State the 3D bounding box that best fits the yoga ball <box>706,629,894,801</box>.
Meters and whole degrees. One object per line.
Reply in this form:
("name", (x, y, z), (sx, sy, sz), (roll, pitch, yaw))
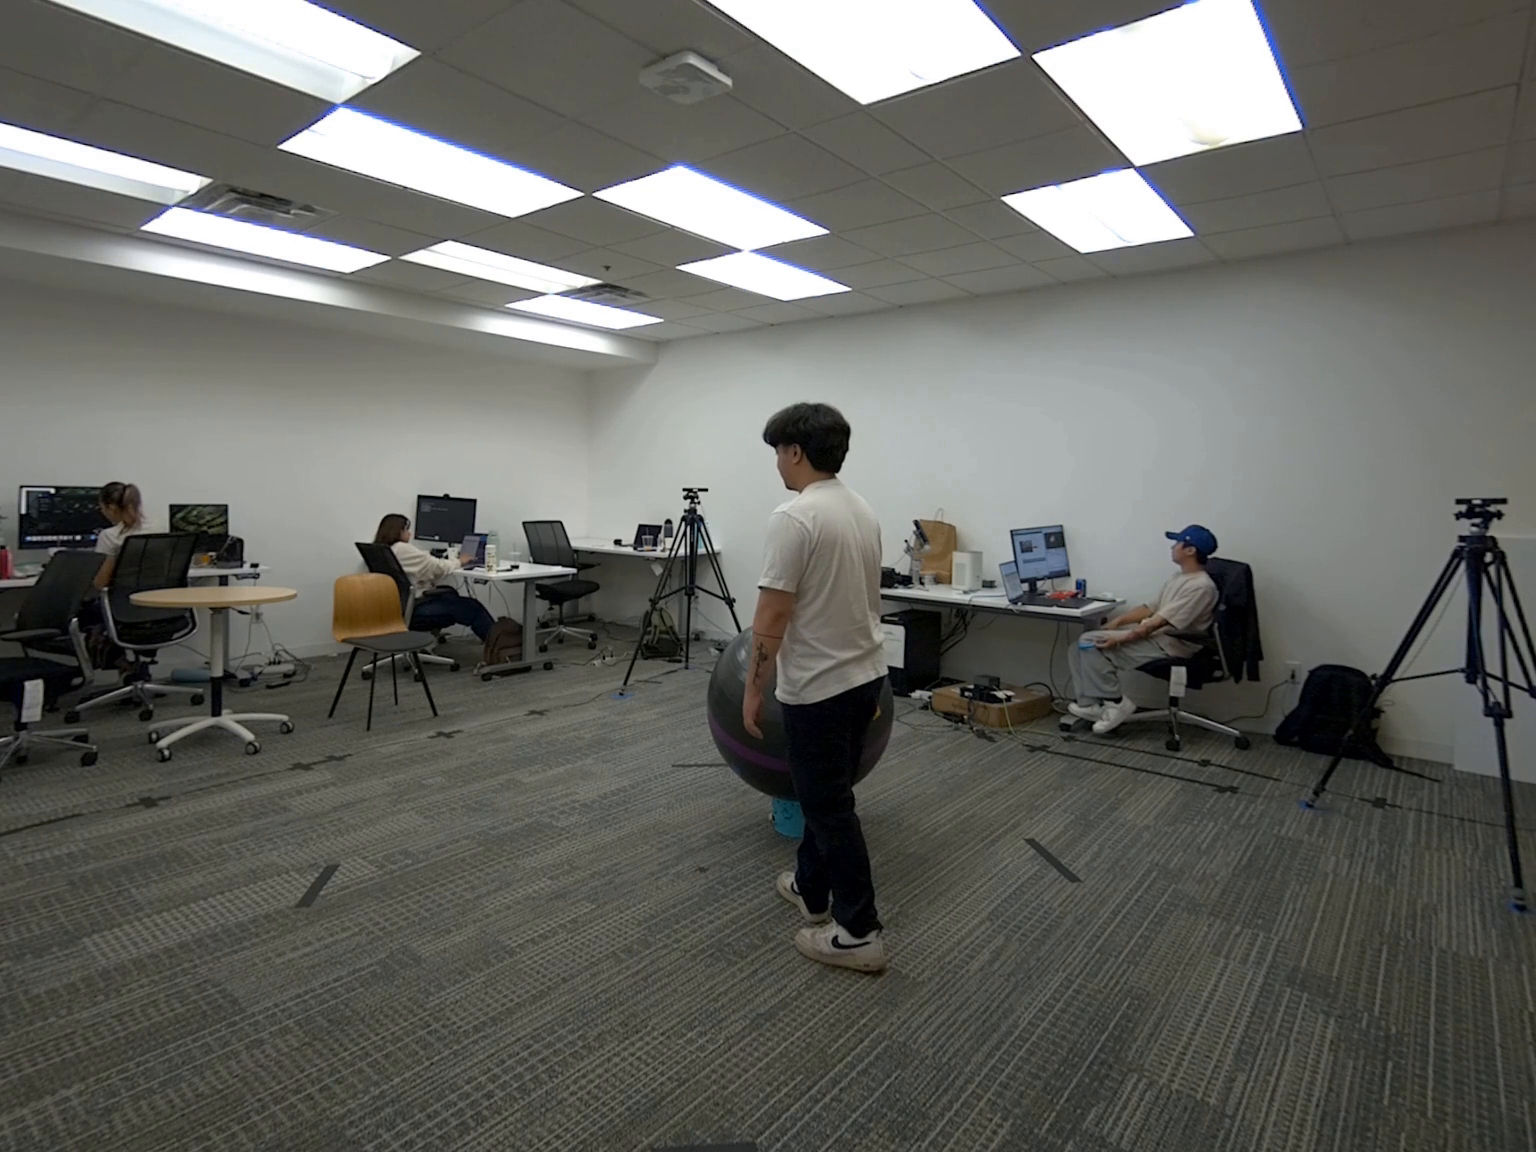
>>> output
("yoga ball", (0.126, 0.527, 3.495), (0.757, 0.756, 0.761), (1, 4, -2))
